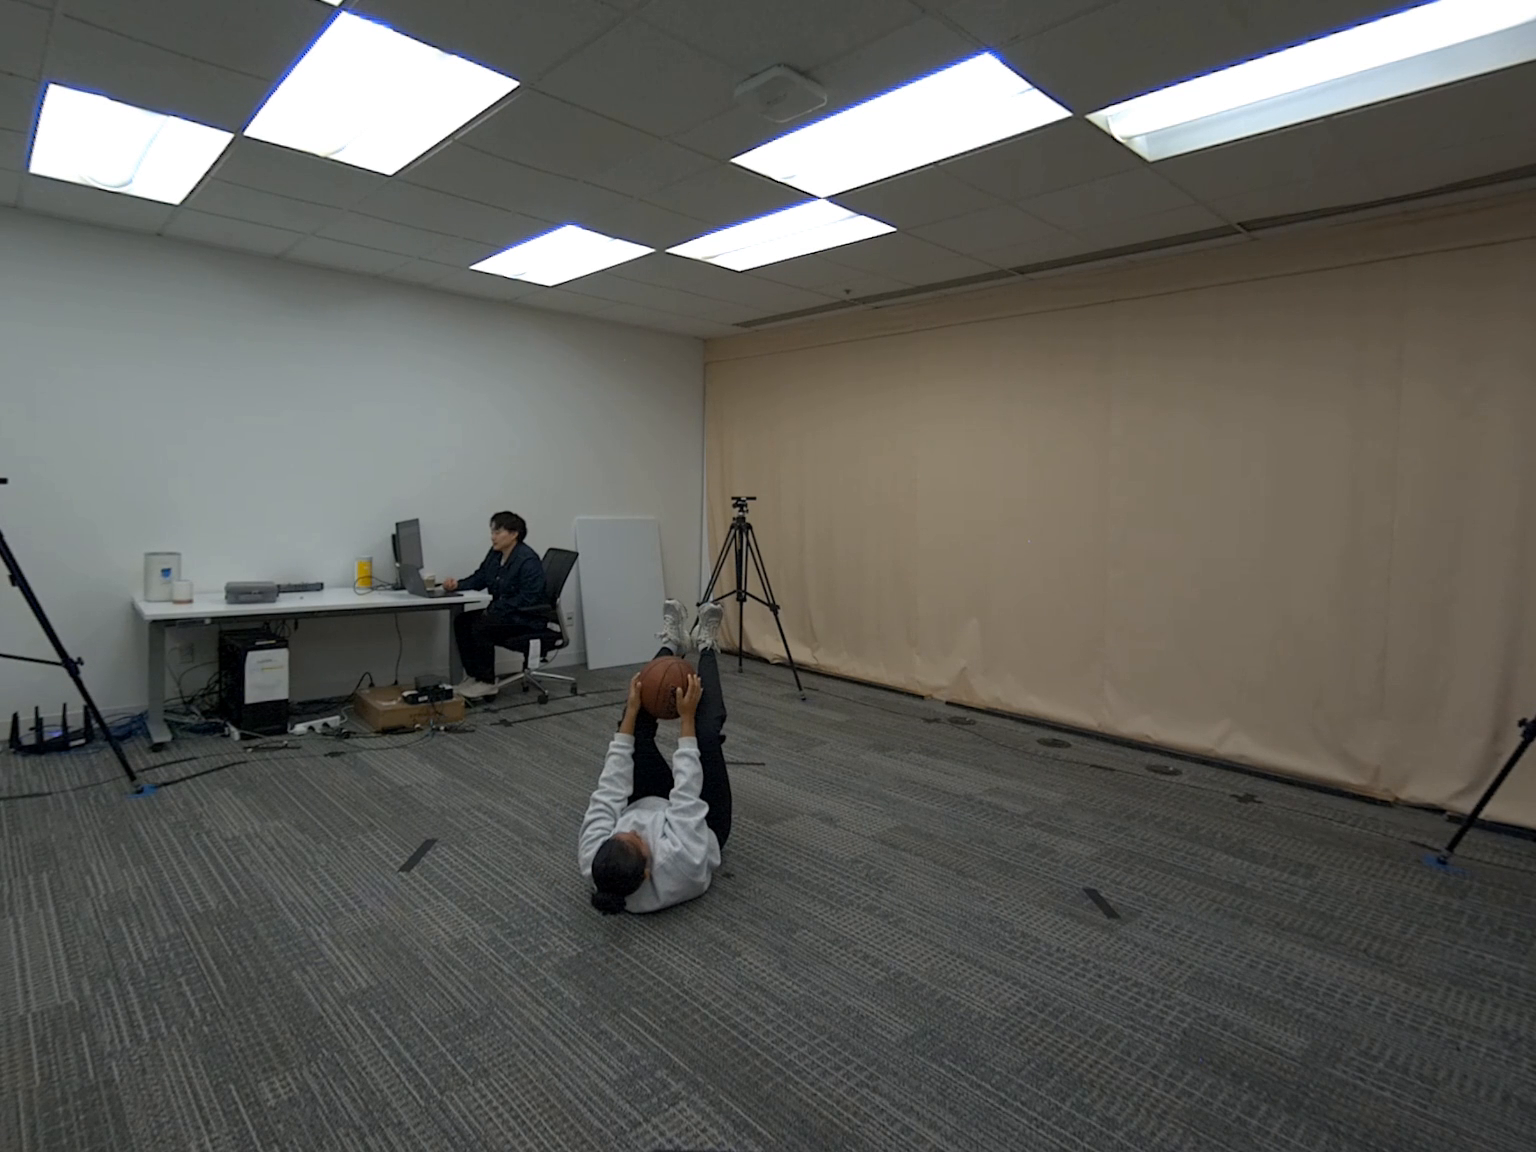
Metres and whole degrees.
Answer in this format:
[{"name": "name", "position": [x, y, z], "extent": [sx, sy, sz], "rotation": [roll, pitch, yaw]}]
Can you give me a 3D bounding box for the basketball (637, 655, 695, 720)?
[{"name": "basketball", "position": [-0.390, 0.420, 3.188], "extent": [0.236, 0.235, 0.237], "rotation": [1, 5, -1]}]
